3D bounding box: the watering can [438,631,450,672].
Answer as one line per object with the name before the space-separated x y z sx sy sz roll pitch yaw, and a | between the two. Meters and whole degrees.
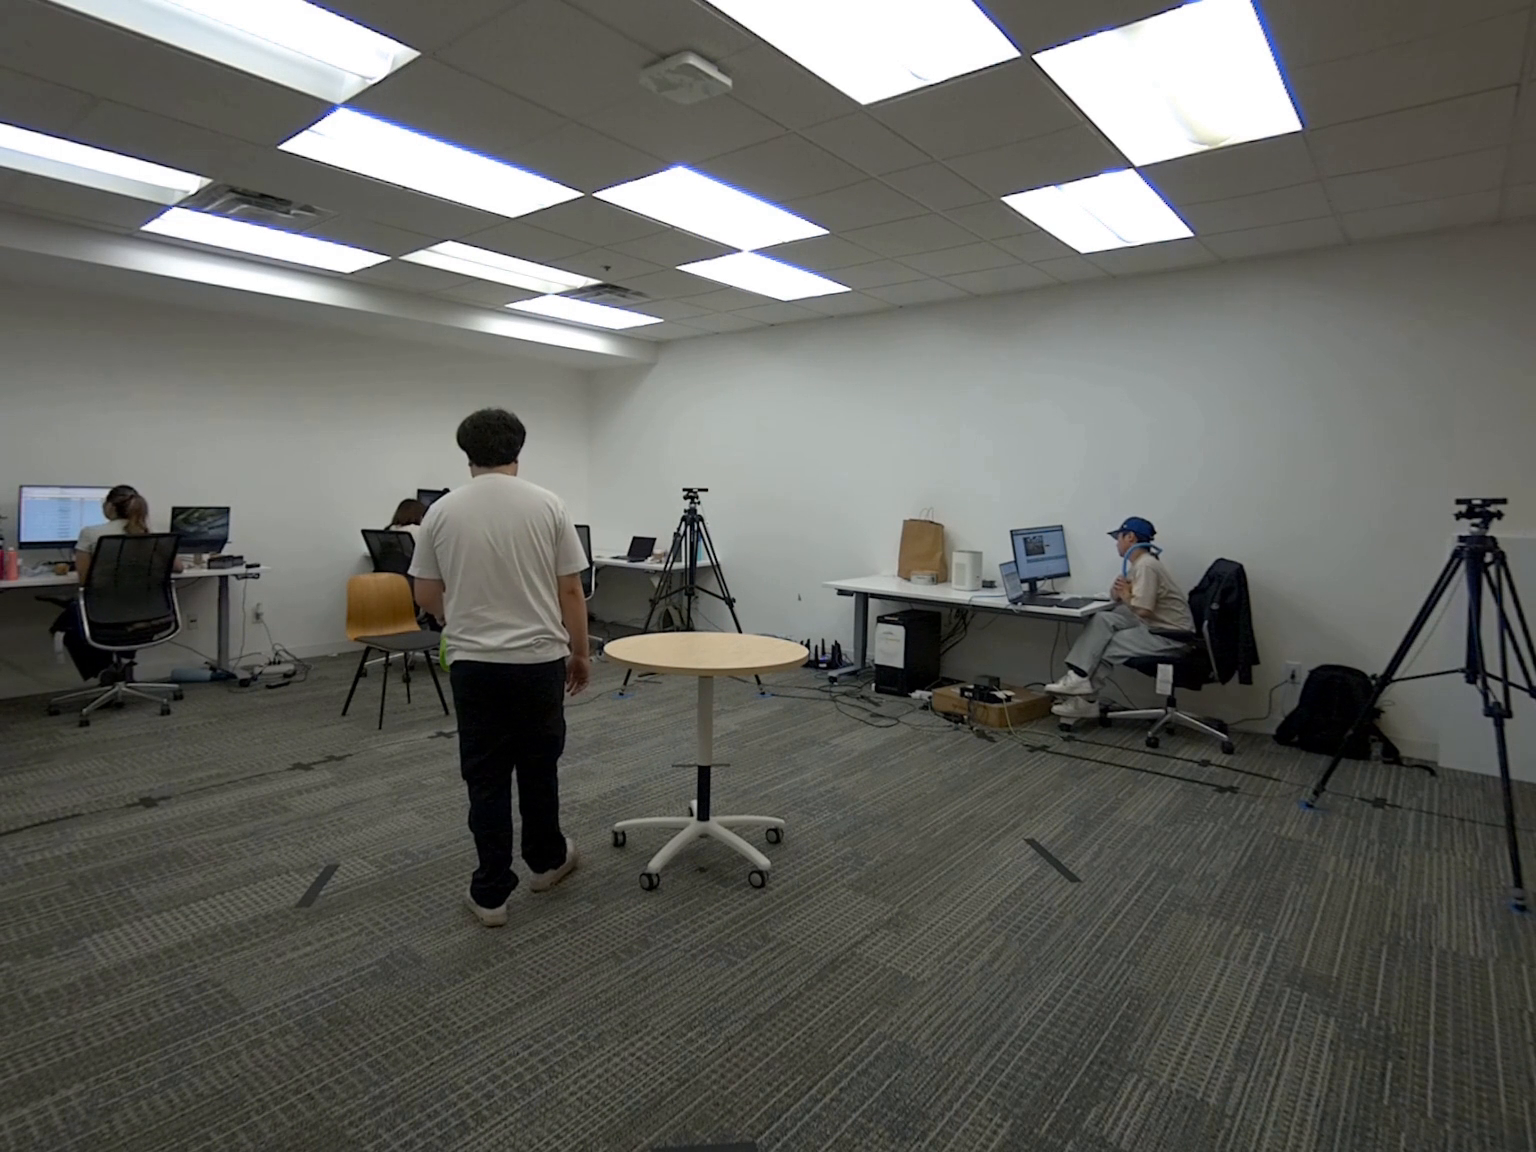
watering can | -1.122 0.271 3.065 0.097 0.269 0.183 -10 41 -6
